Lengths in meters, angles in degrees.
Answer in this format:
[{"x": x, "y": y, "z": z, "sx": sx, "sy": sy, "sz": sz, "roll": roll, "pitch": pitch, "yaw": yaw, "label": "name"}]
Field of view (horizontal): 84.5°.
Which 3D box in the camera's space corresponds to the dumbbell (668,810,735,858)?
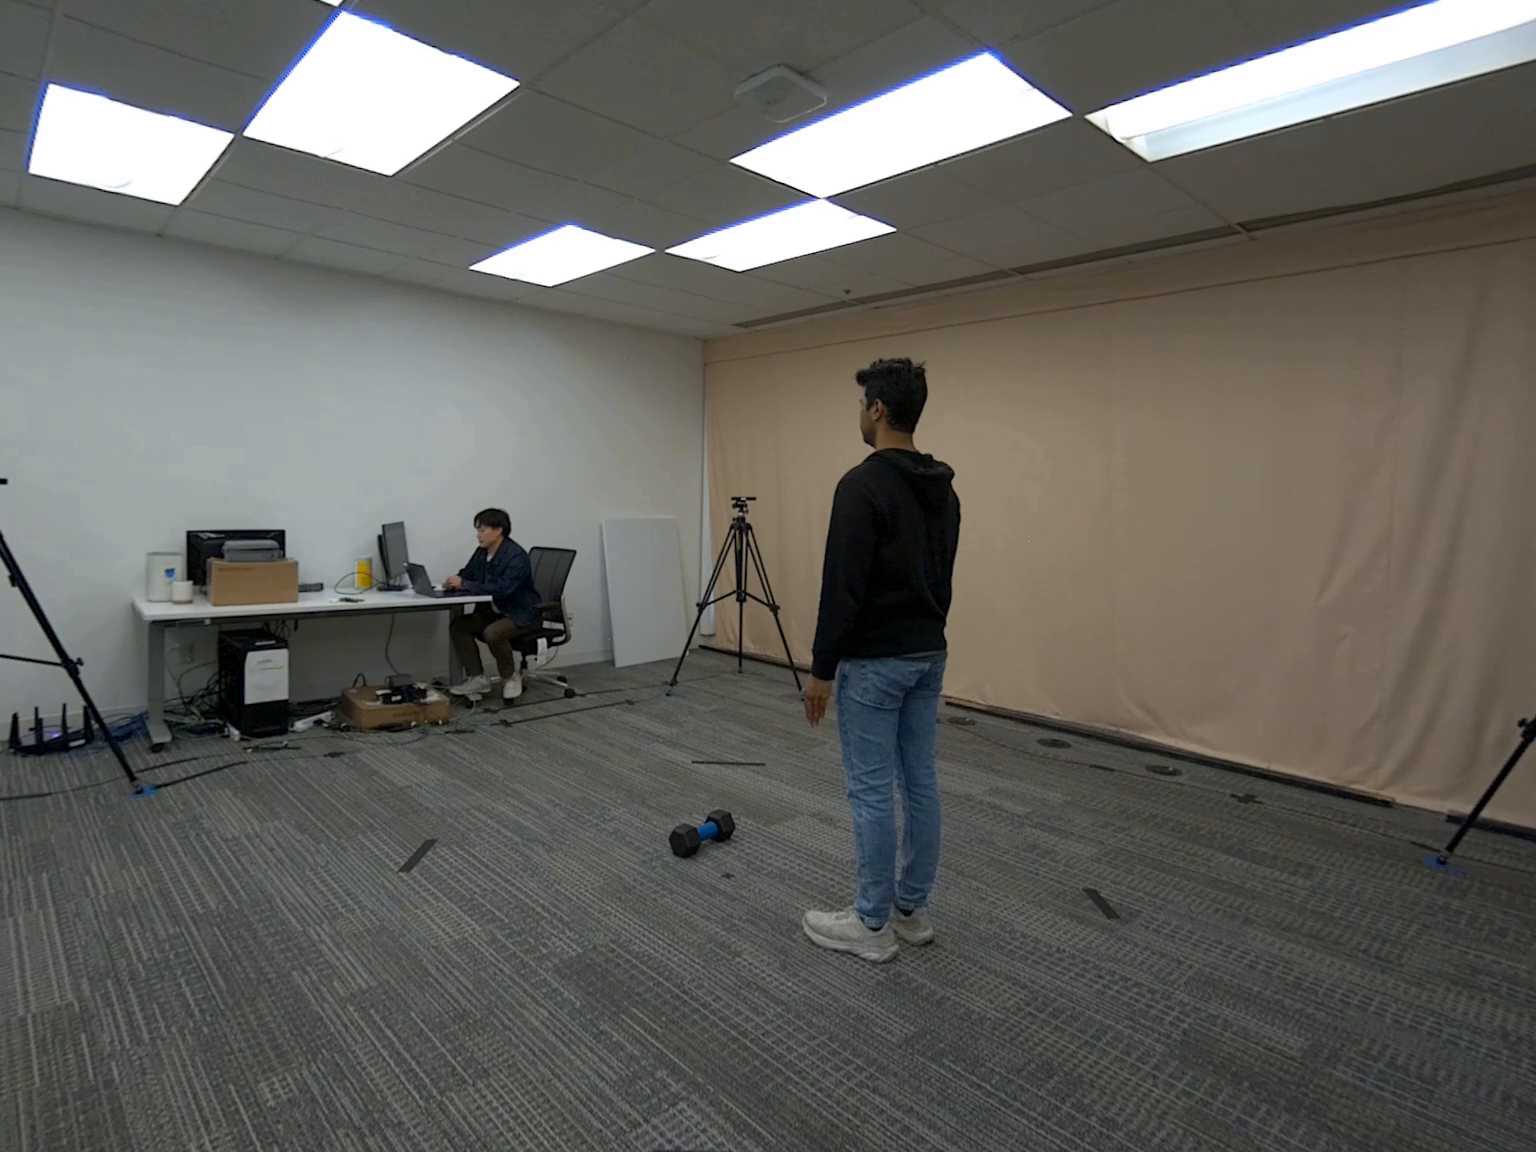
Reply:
[{"x": -0.271, "y": 1.026, "z": 3.360, "sx": 0.112, "sy": 0.122, "sz": 0.287, "roll": 40, "pitch": 26, "yaw": 29, "label": "dumbbell"}]
